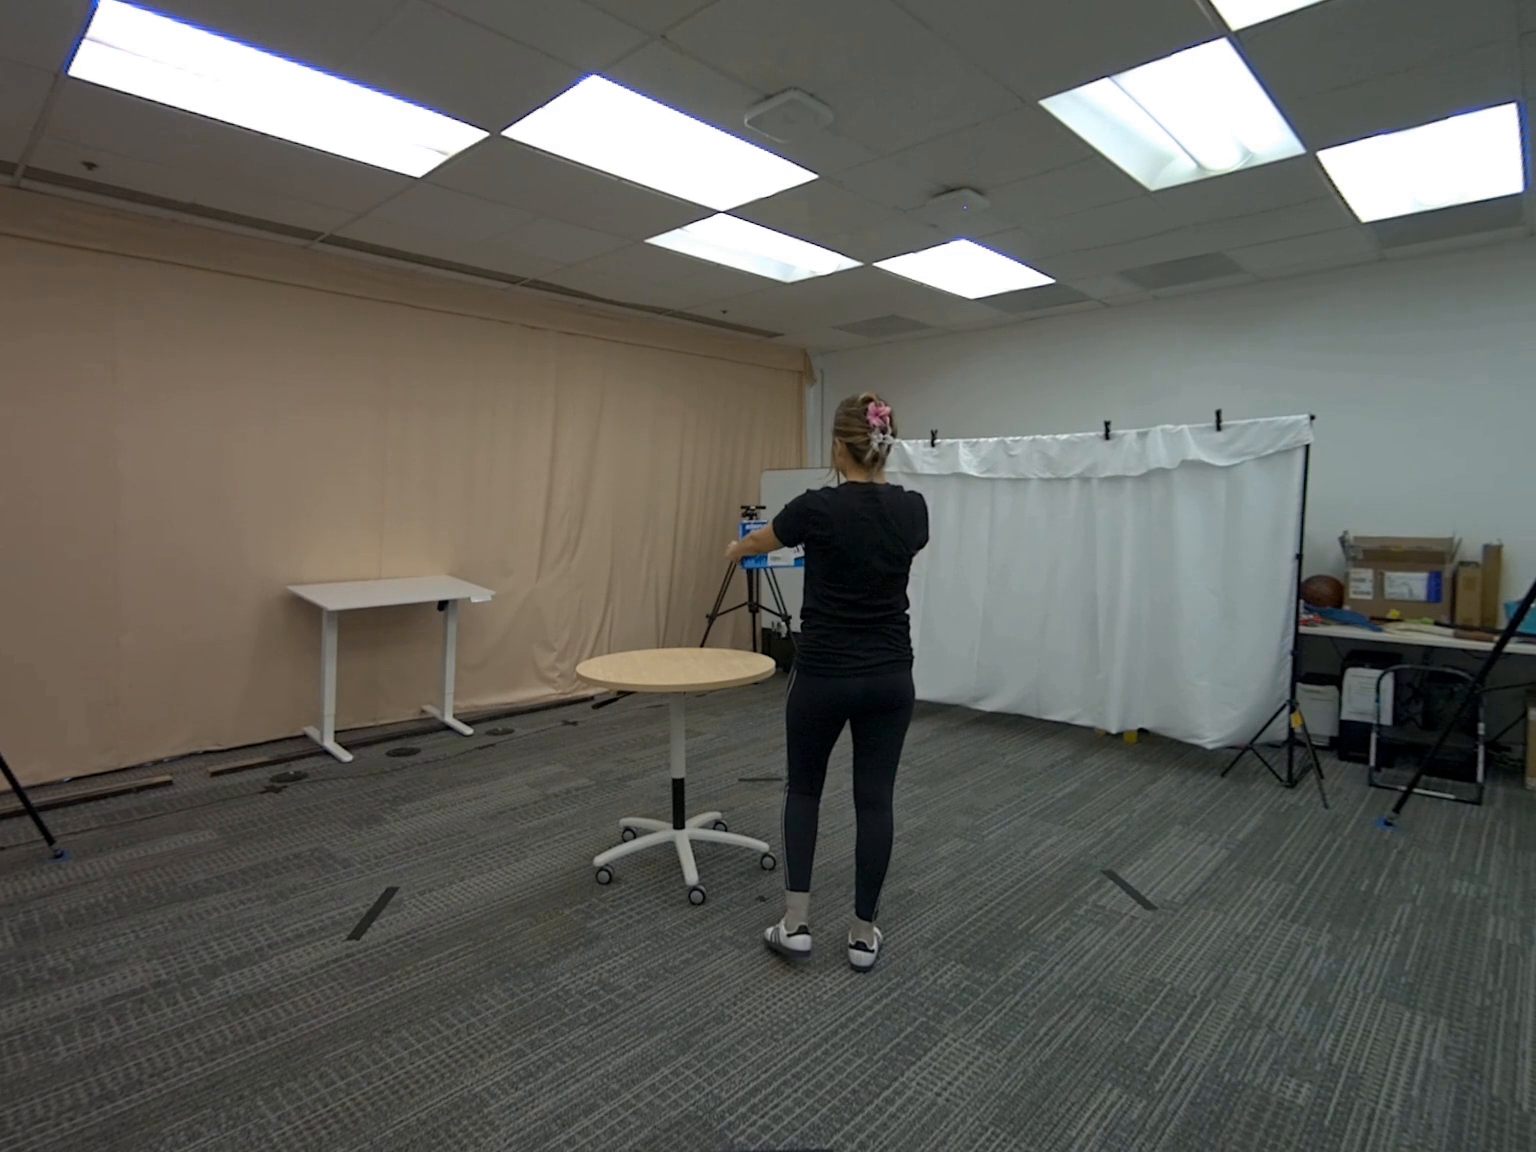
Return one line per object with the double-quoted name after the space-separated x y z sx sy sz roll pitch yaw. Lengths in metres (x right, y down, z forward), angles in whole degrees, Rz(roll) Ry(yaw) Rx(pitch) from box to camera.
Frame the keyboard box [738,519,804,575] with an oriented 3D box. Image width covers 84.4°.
0.109 -0.122 3.100 0.431 0.175 0.060 -3 8 -12 "keyboard box"
